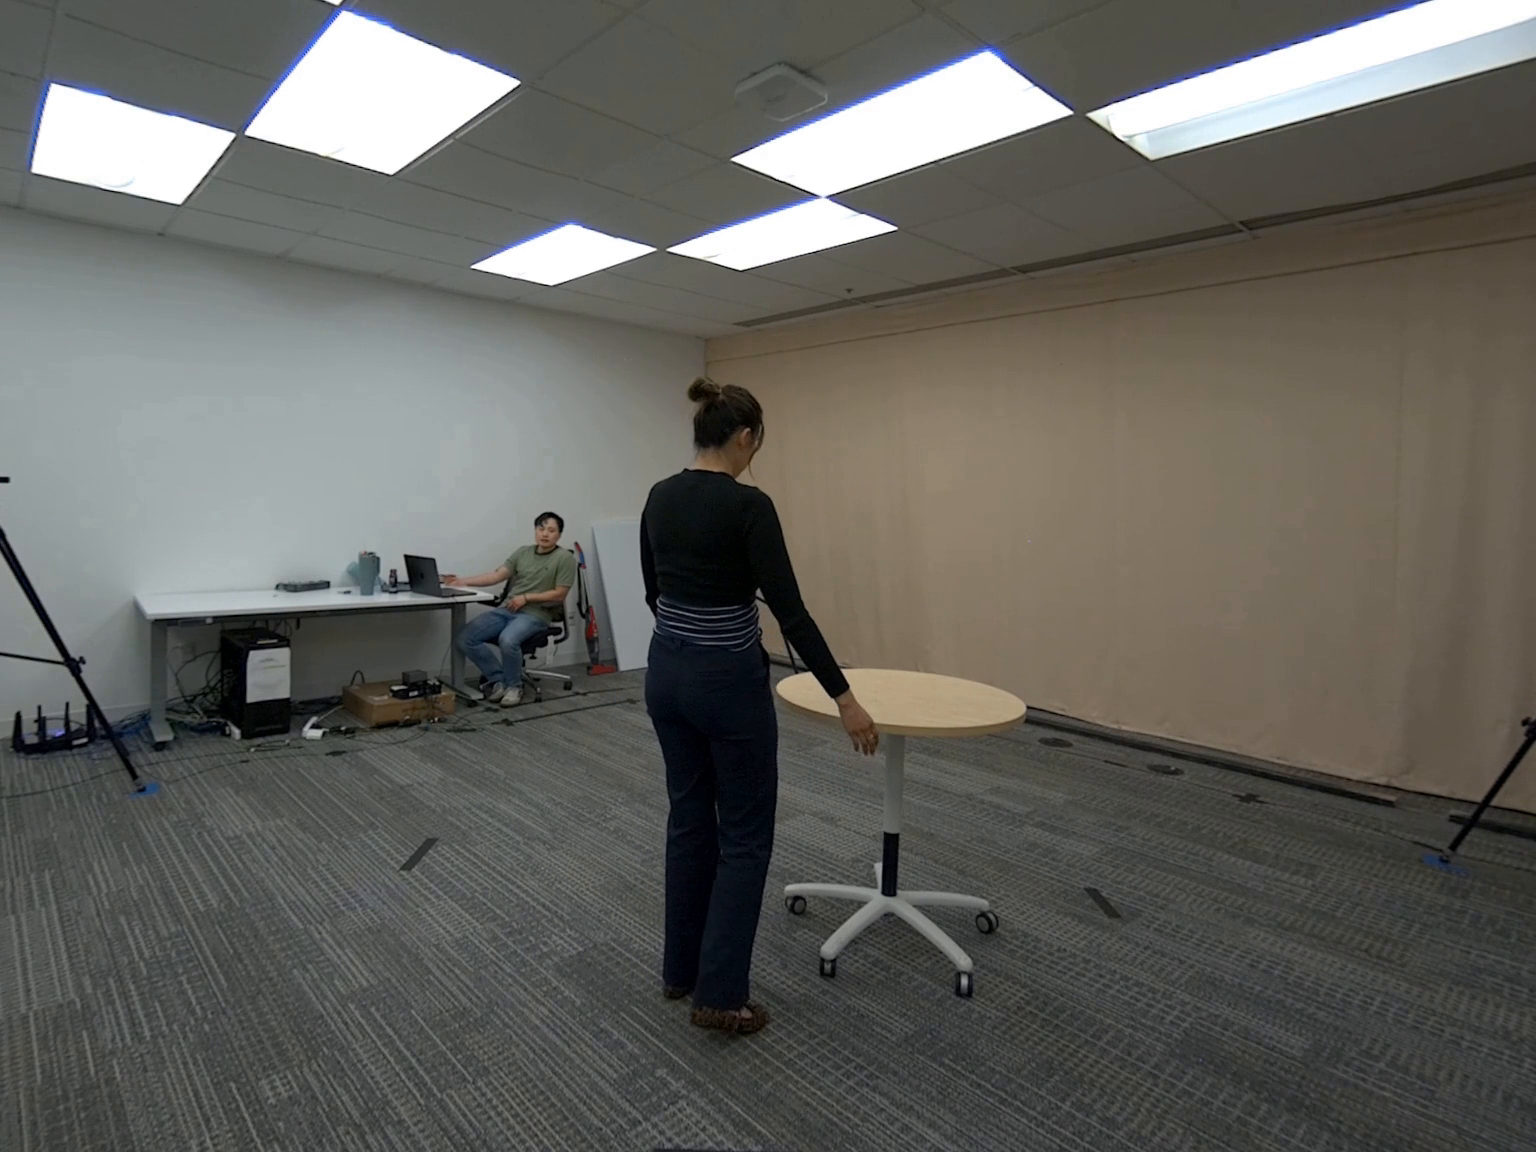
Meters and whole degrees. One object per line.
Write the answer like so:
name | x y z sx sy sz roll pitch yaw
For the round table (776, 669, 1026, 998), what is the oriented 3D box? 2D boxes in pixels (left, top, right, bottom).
round table | 0.387 0.766 2.668 0.763 0.792 0.767 2 4 -2
